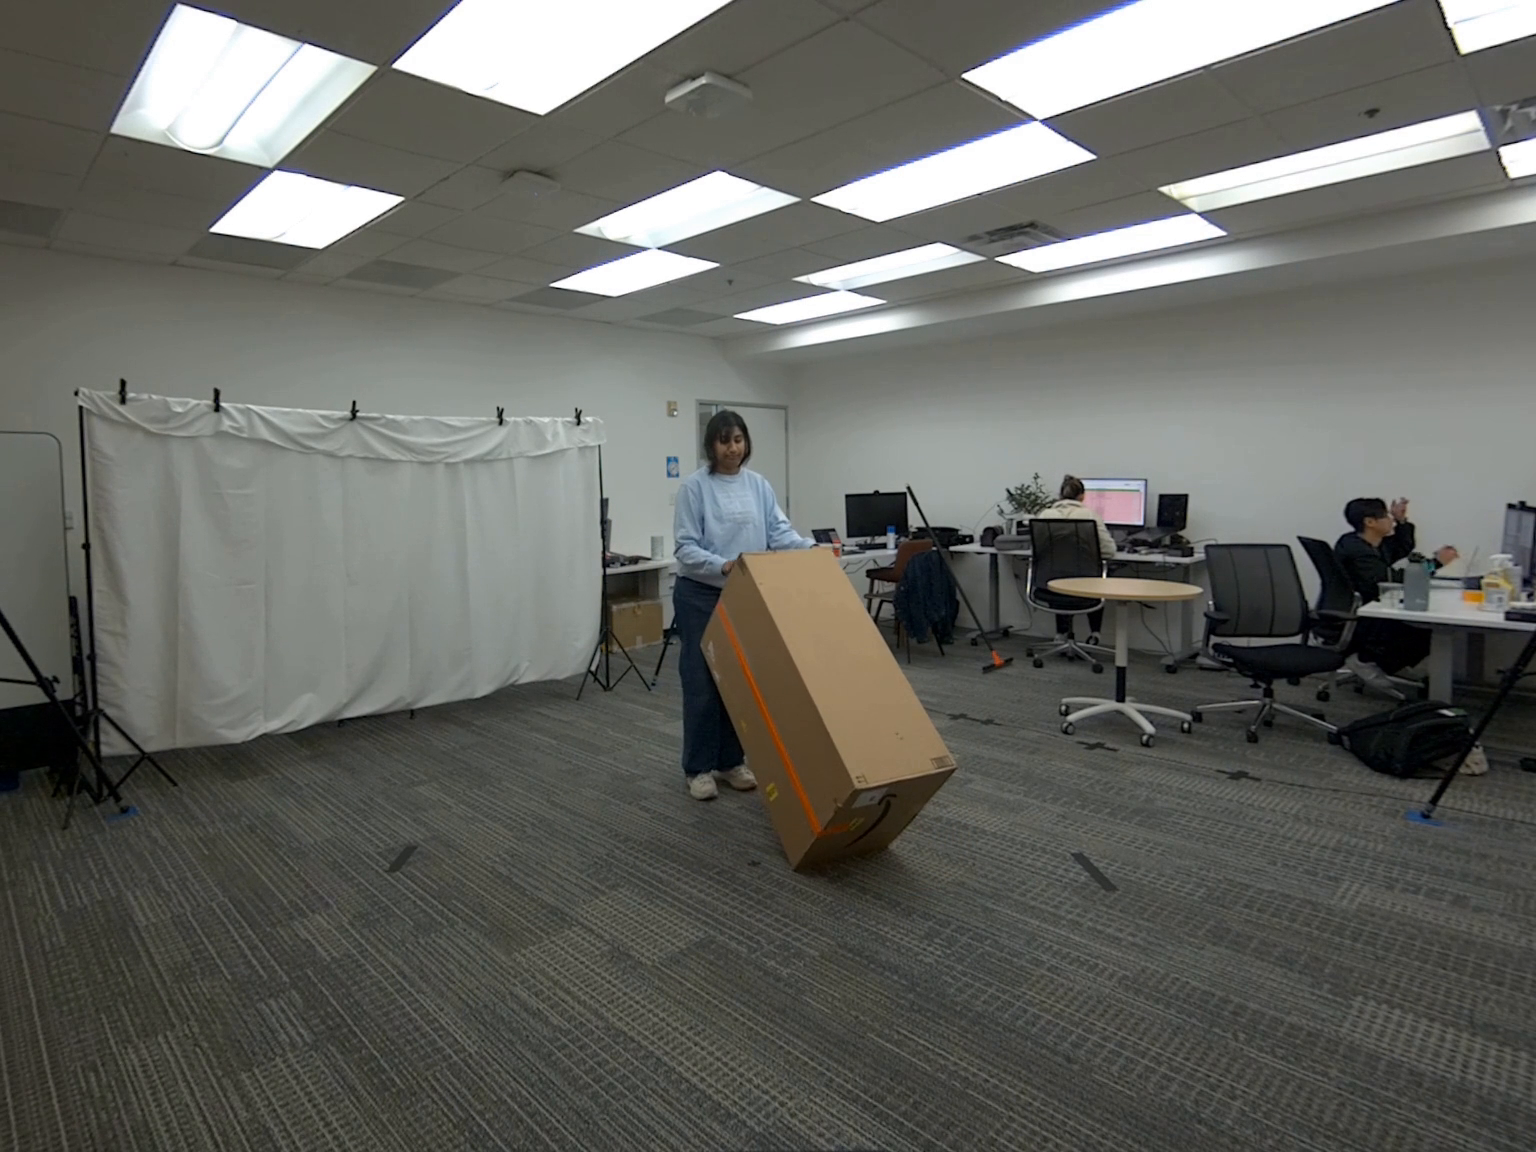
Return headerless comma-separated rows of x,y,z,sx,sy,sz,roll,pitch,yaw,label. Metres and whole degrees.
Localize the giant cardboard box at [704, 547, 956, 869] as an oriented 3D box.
0.175,0.471,3.254,0.436,0.576,1.064,-2,48,-29,giant cardboard box
